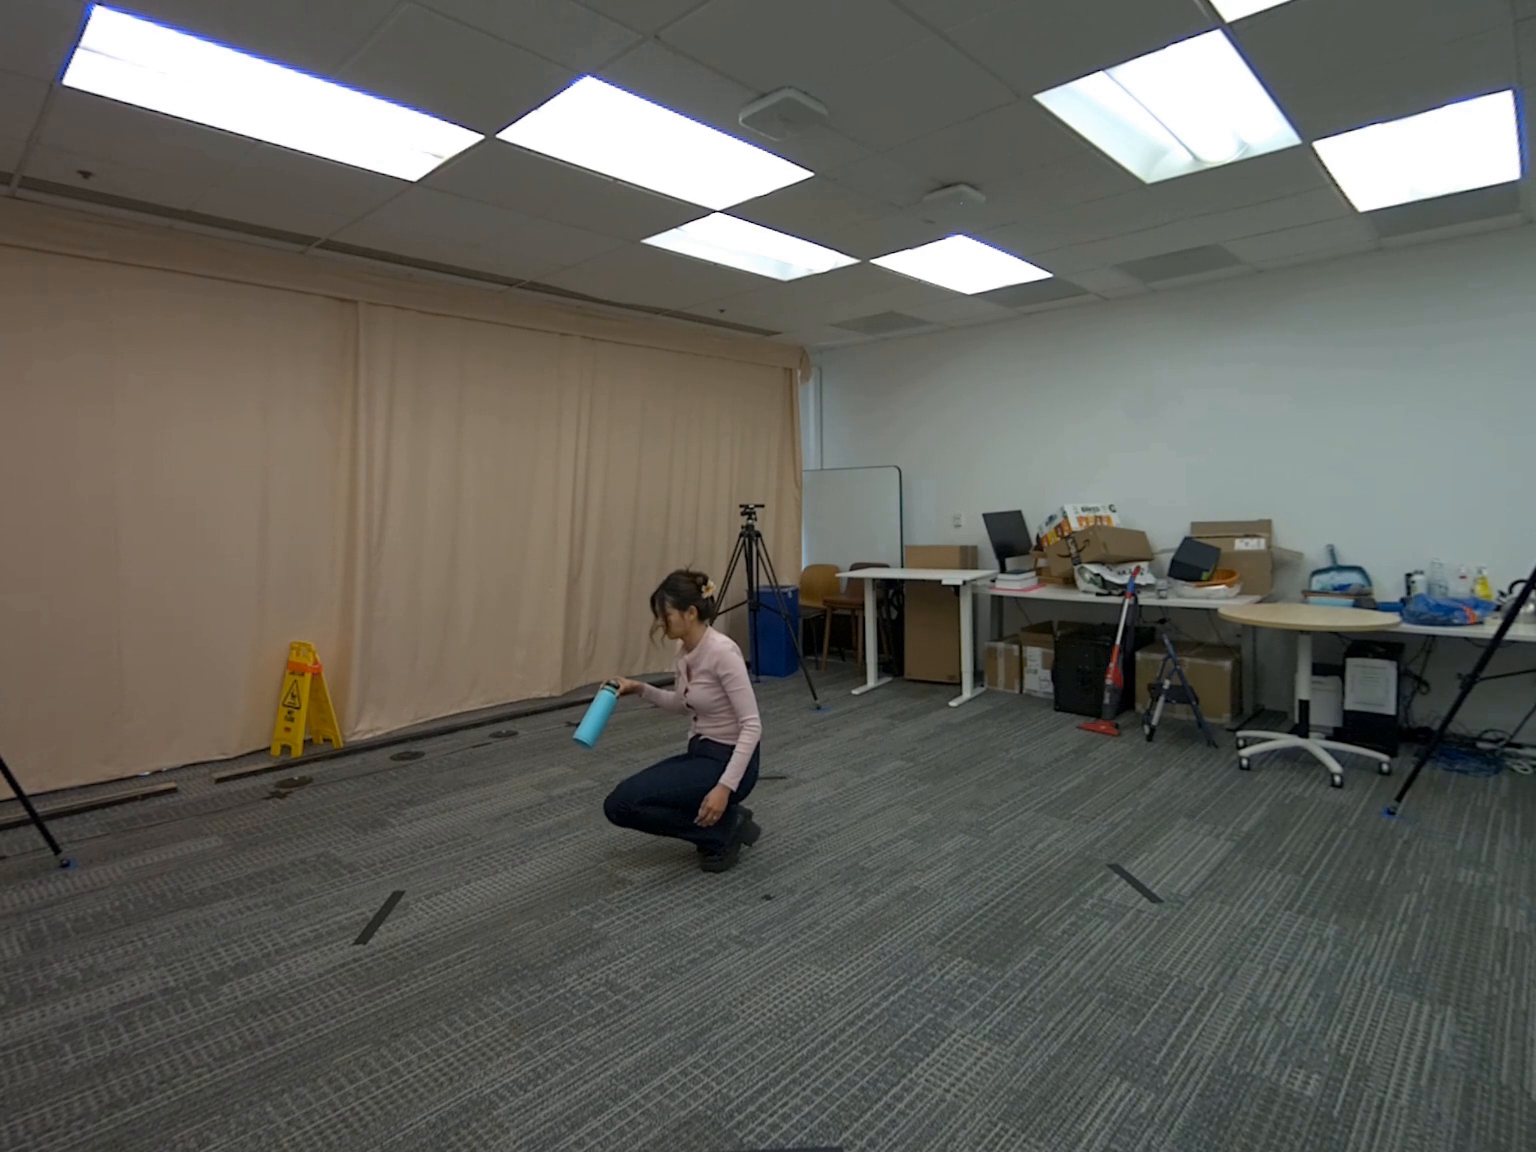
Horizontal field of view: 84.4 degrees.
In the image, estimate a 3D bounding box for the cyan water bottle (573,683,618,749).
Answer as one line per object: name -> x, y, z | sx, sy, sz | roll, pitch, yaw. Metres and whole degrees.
cyan water bottle -> -0.684, 0.560, 3.397 | 0.094, 0.284, 0.091 | 21, -29, 11
